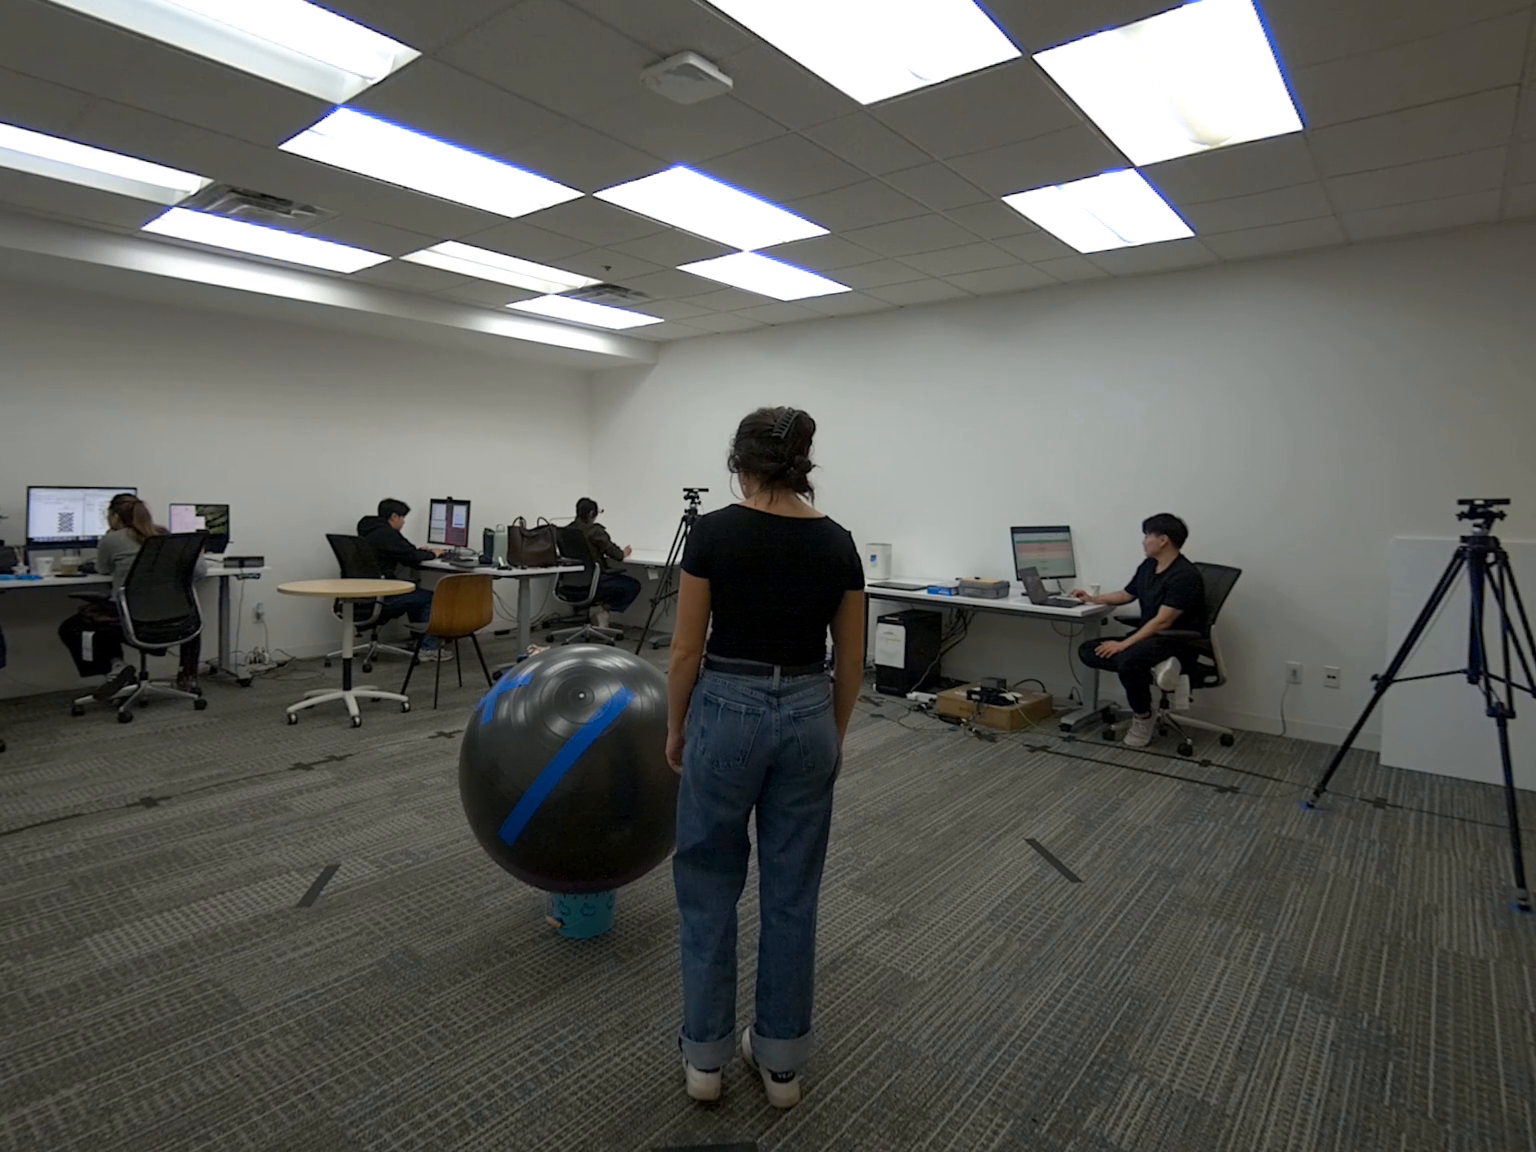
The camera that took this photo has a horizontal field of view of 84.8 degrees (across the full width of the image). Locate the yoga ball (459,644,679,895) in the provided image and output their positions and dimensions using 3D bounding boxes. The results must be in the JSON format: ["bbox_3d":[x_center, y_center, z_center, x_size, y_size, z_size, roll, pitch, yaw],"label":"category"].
[{"bbox_3d":[-0.596,0.602,2.664,0.757,0.756,0.762,1,4,-2],"label":"yoga ball"}]
